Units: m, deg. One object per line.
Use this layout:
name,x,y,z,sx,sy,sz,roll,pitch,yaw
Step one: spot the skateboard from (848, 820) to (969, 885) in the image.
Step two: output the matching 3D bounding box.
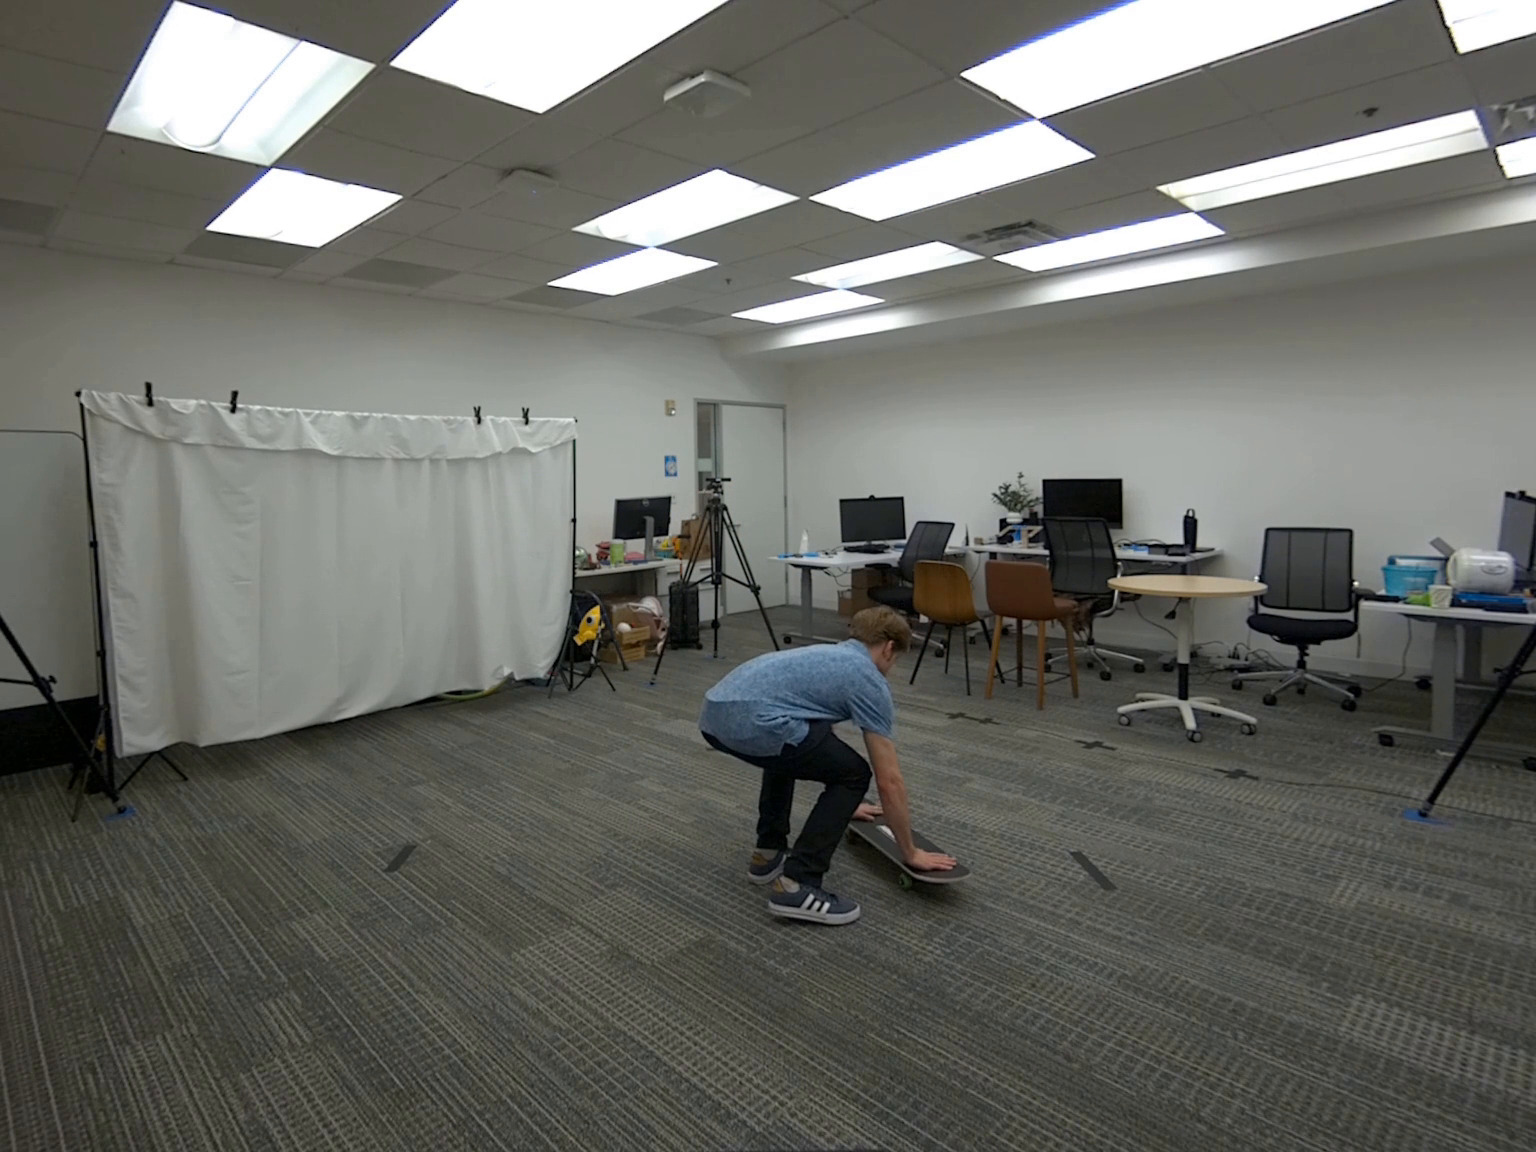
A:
skateboard,0.452,0.972,3.103,0.190,0.110,0.803,-1,7,-20
